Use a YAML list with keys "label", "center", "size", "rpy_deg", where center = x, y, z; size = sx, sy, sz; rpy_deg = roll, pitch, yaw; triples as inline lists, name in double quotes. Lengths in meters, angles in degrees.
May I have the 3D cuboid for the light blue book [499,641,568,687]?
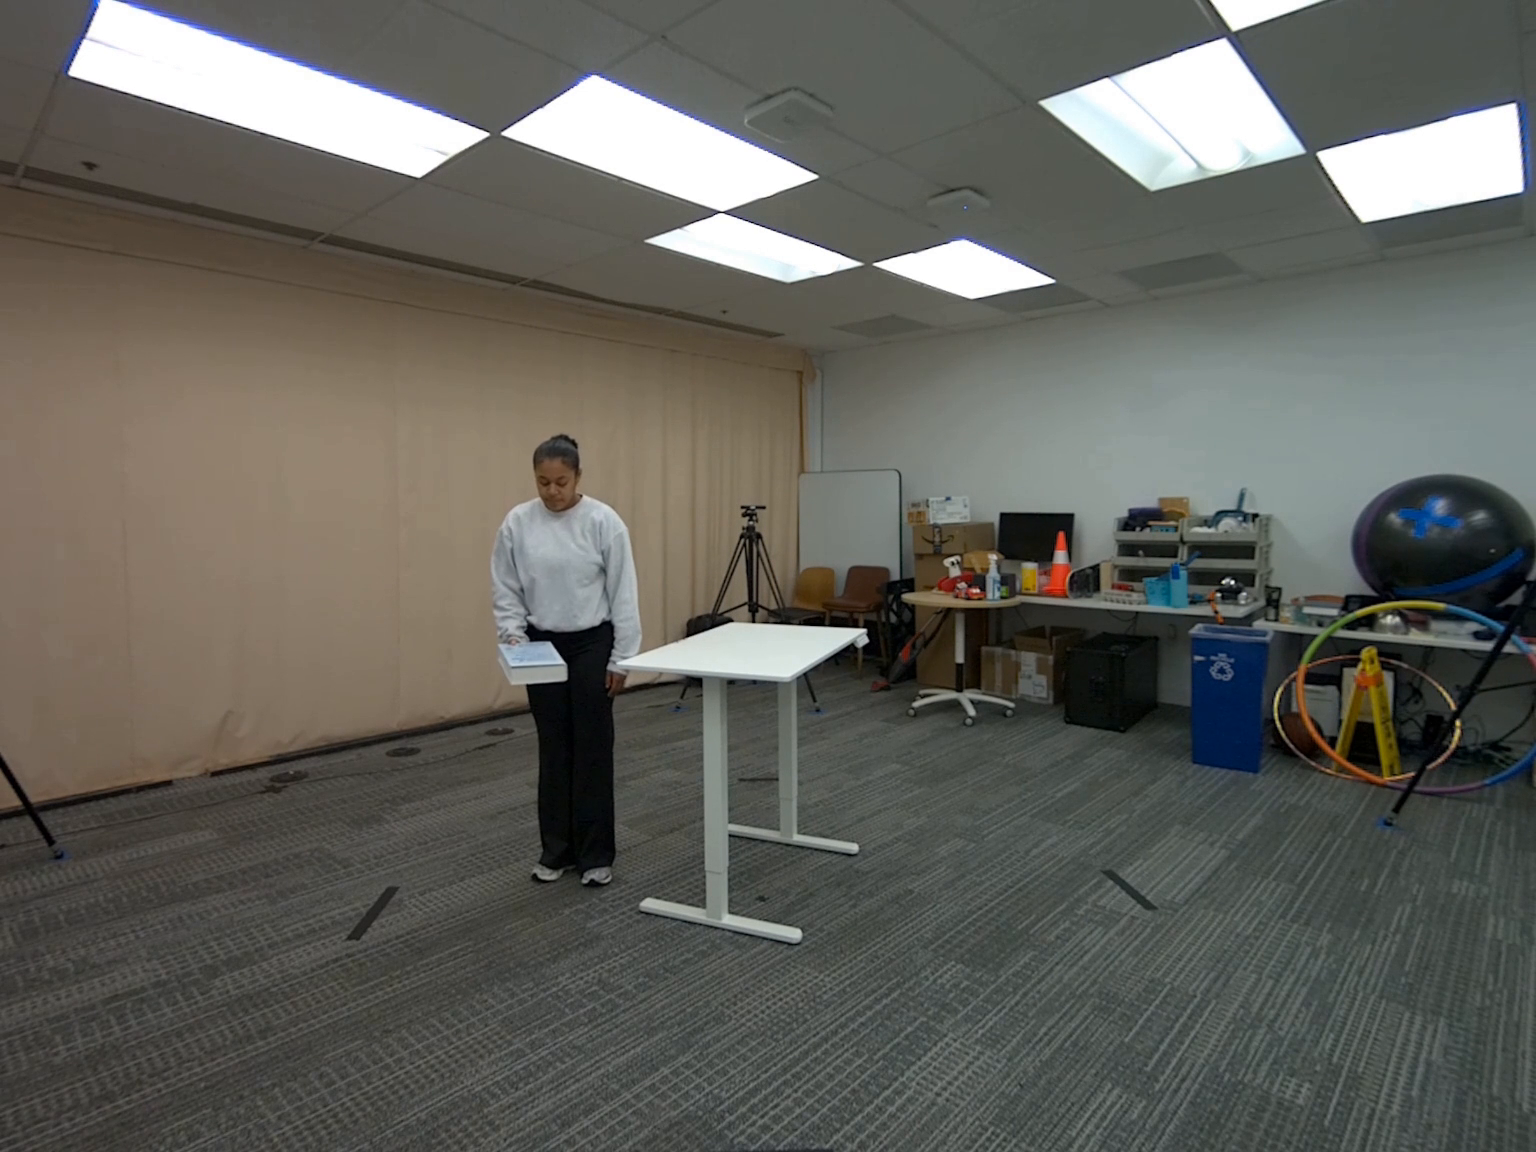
- label: "light blue book"
  center: [-0.797, 0.293, 2.867]
  size: [0.187, 0.058, 0.268]
  rpy_deg: [-3, 12, -23]
